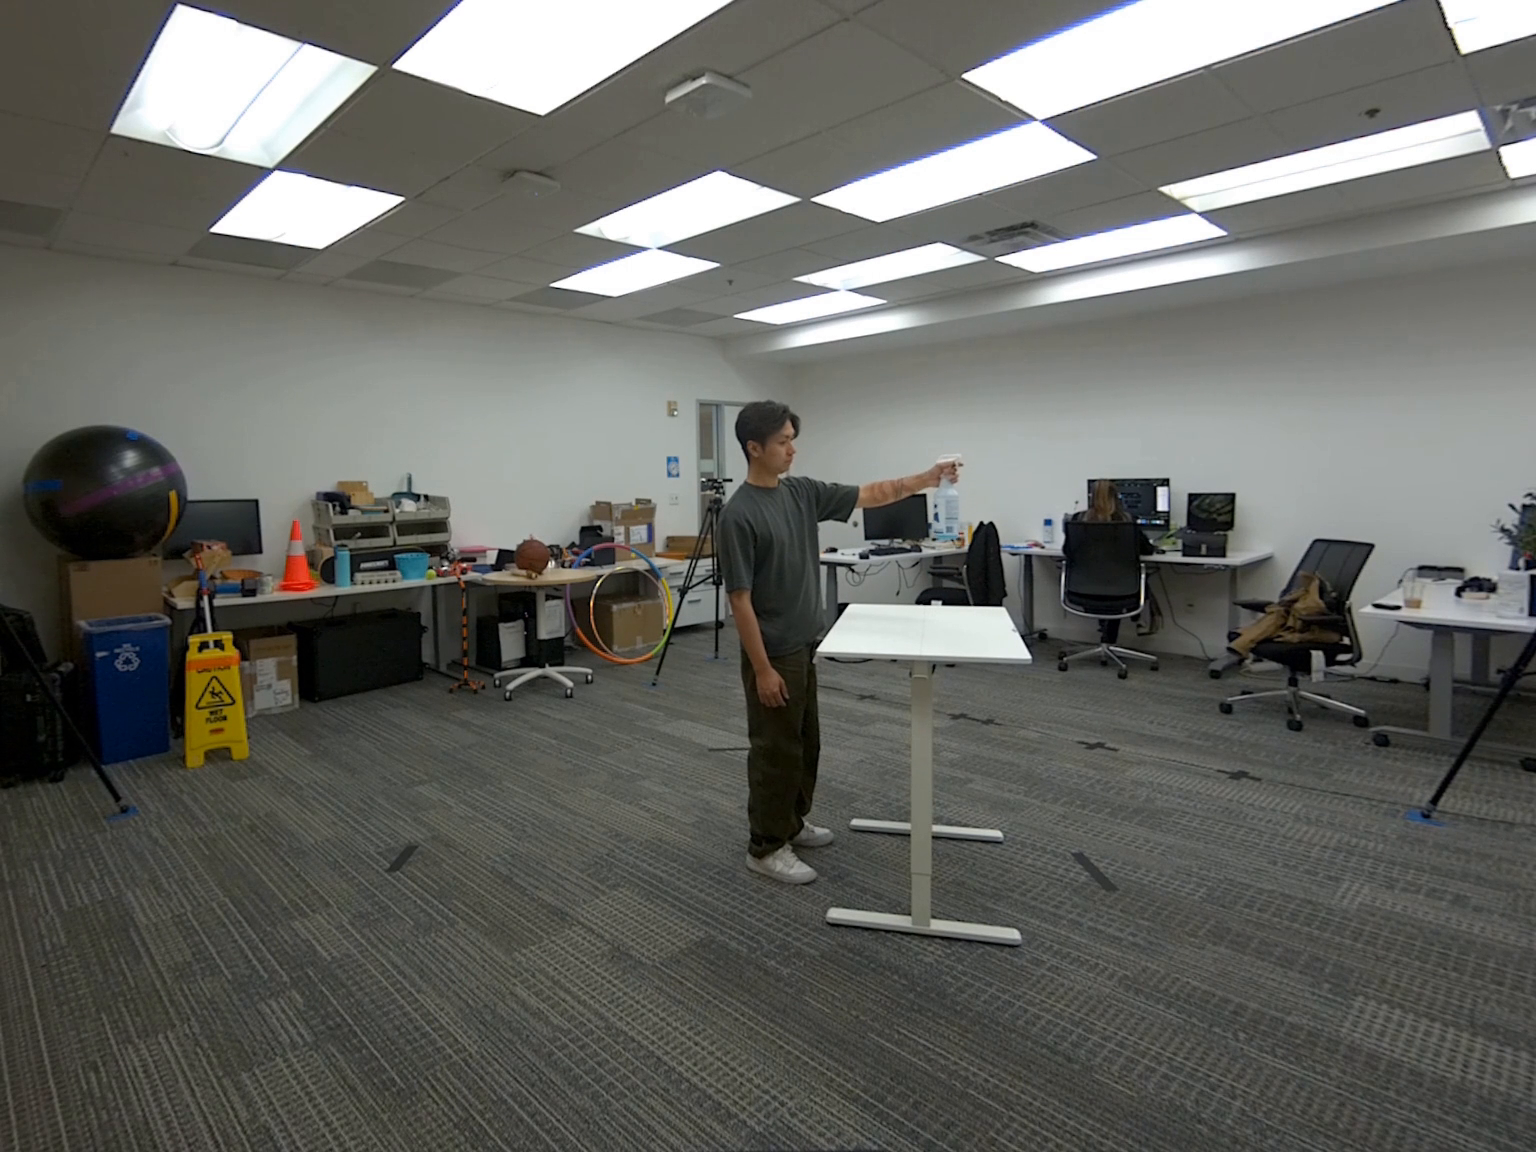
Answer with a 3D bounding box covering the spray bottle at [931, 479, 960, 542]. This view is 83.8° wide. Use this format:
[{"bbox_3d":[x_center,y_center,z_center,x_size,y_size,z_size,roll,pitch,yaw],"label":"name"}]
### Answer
[{"bbox_3d":[0.628,-0.276,3.005,0.085,0.296,0.093,-4,7,-33],"label":"spray bottle"}]
